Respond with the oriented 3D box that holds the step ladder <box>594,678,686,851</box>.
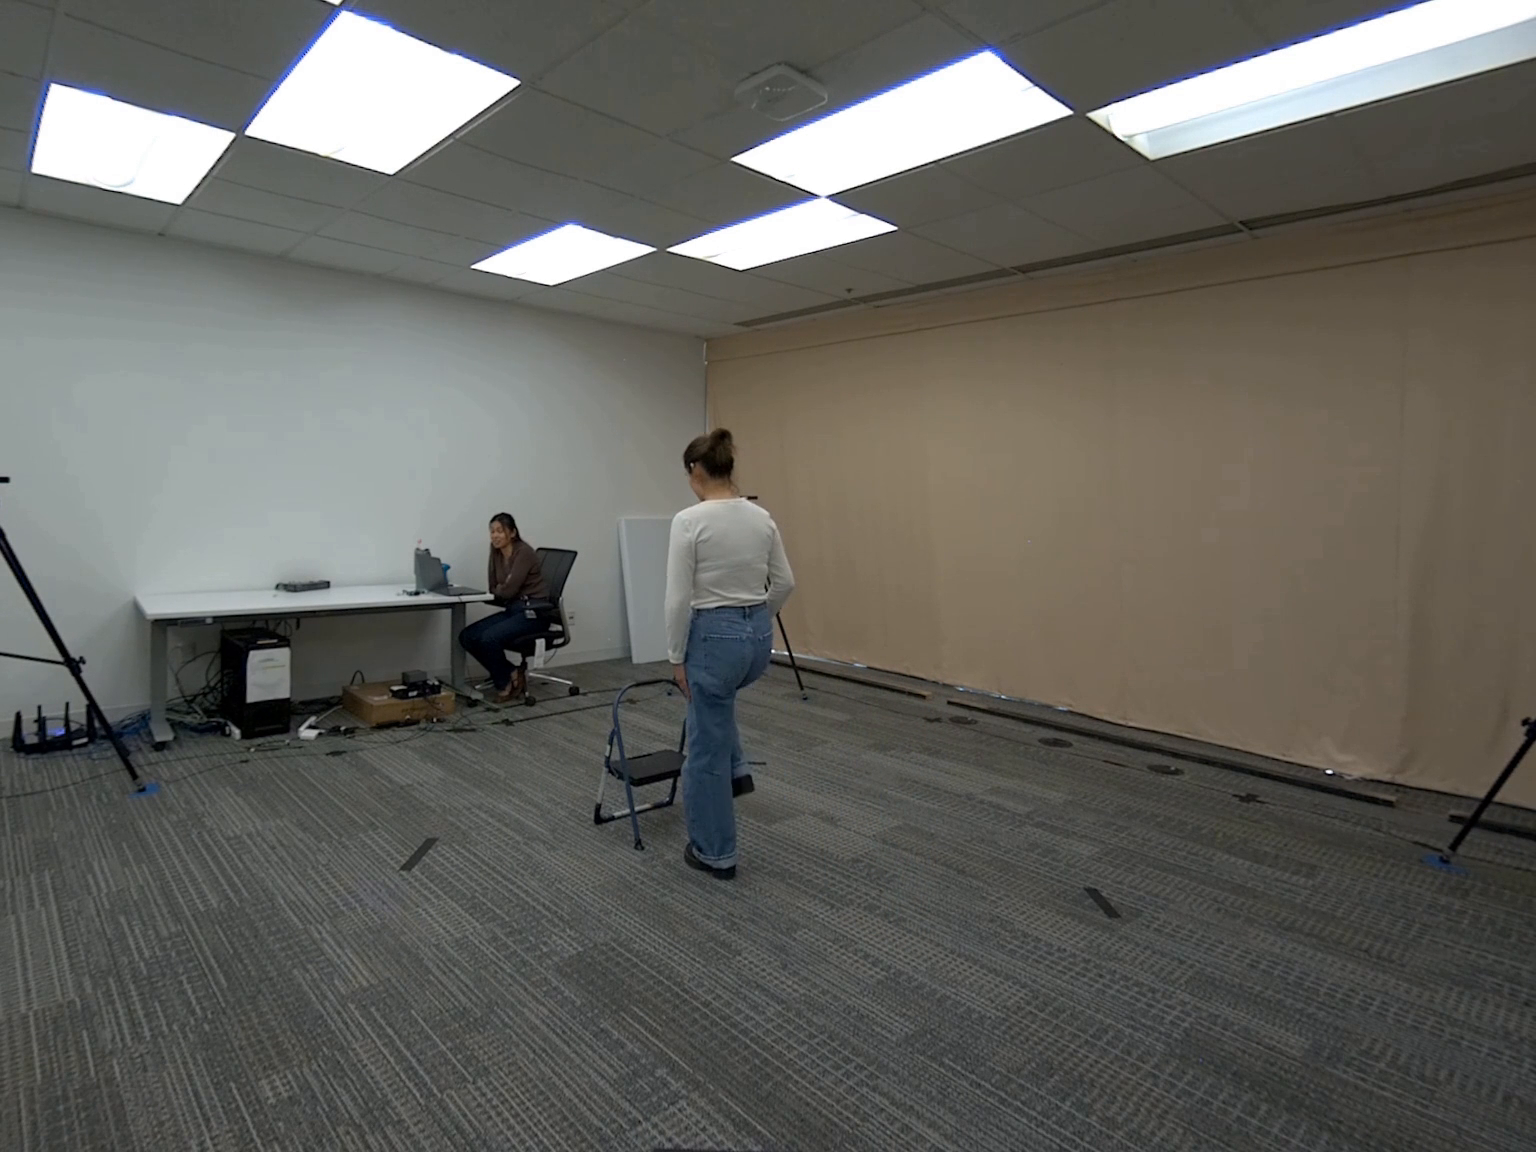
[{"bbox_3d":[-0.470,0.754,3.551,0.420,0.605,0.358,-1,5,-43],"label":"step ladder"}]
